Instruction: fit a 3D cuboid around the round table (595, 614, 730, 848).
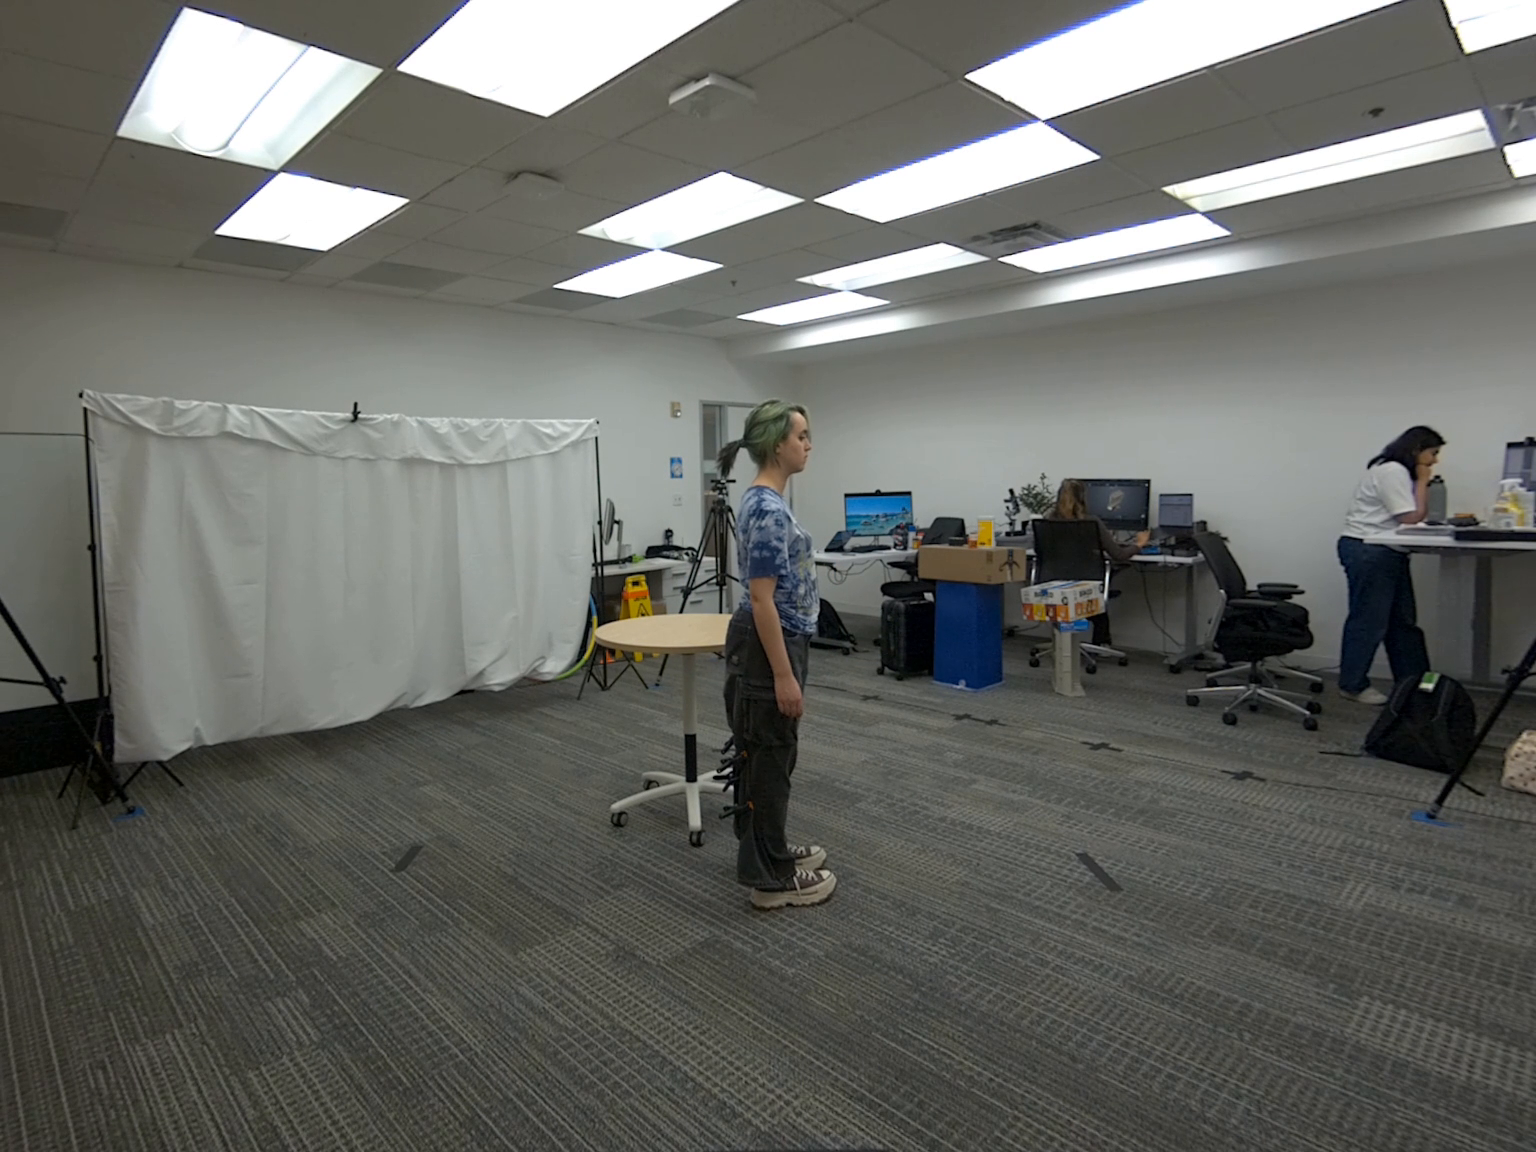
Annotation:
[{"bbox_3d":[-0.321,0.611,3.564,0.763,0.791,0.768,-2,5,-2],"label":"round table"}]
